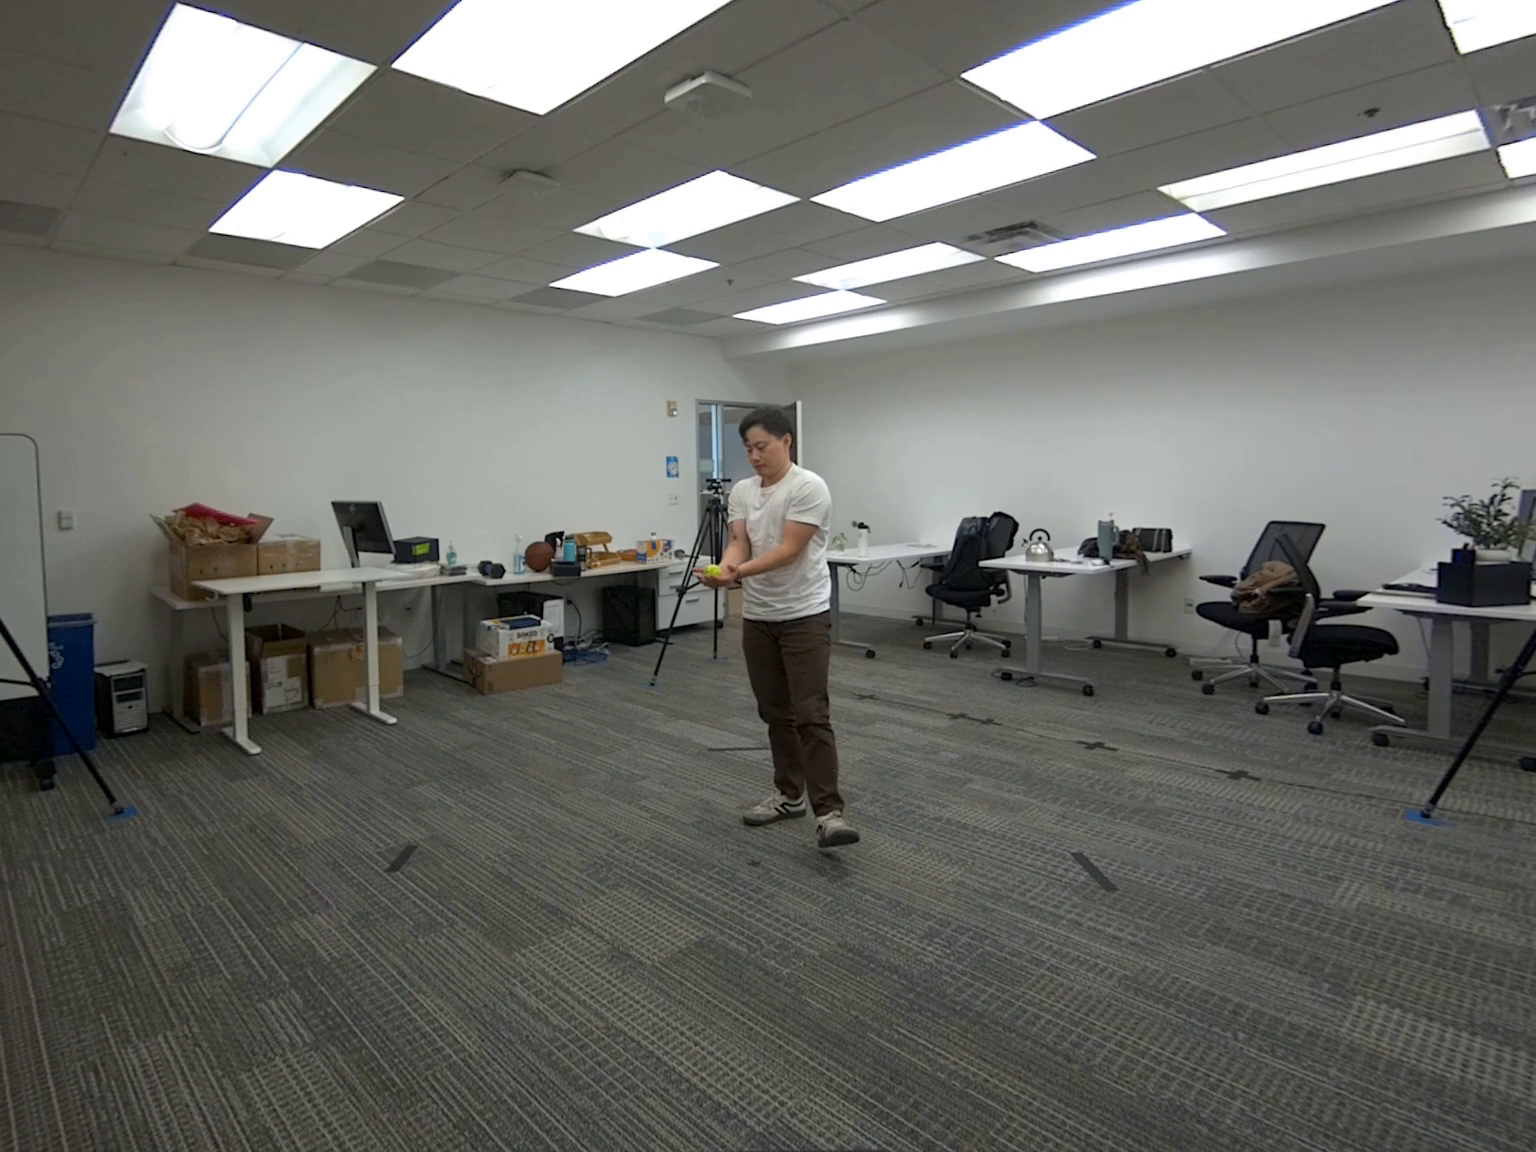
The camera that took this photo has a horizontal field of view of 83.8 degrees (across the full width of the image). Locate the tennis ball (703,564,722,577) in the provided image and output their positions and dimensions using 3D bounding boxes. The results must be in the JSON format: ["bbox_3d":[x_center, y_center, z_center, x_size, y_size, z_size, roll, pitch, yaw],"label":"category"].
[{"bbox_3d":[-0.197,-0.013,3.123,0.066,0.066,0.067,-1,5,-2],"label":"tennis ball"}]
